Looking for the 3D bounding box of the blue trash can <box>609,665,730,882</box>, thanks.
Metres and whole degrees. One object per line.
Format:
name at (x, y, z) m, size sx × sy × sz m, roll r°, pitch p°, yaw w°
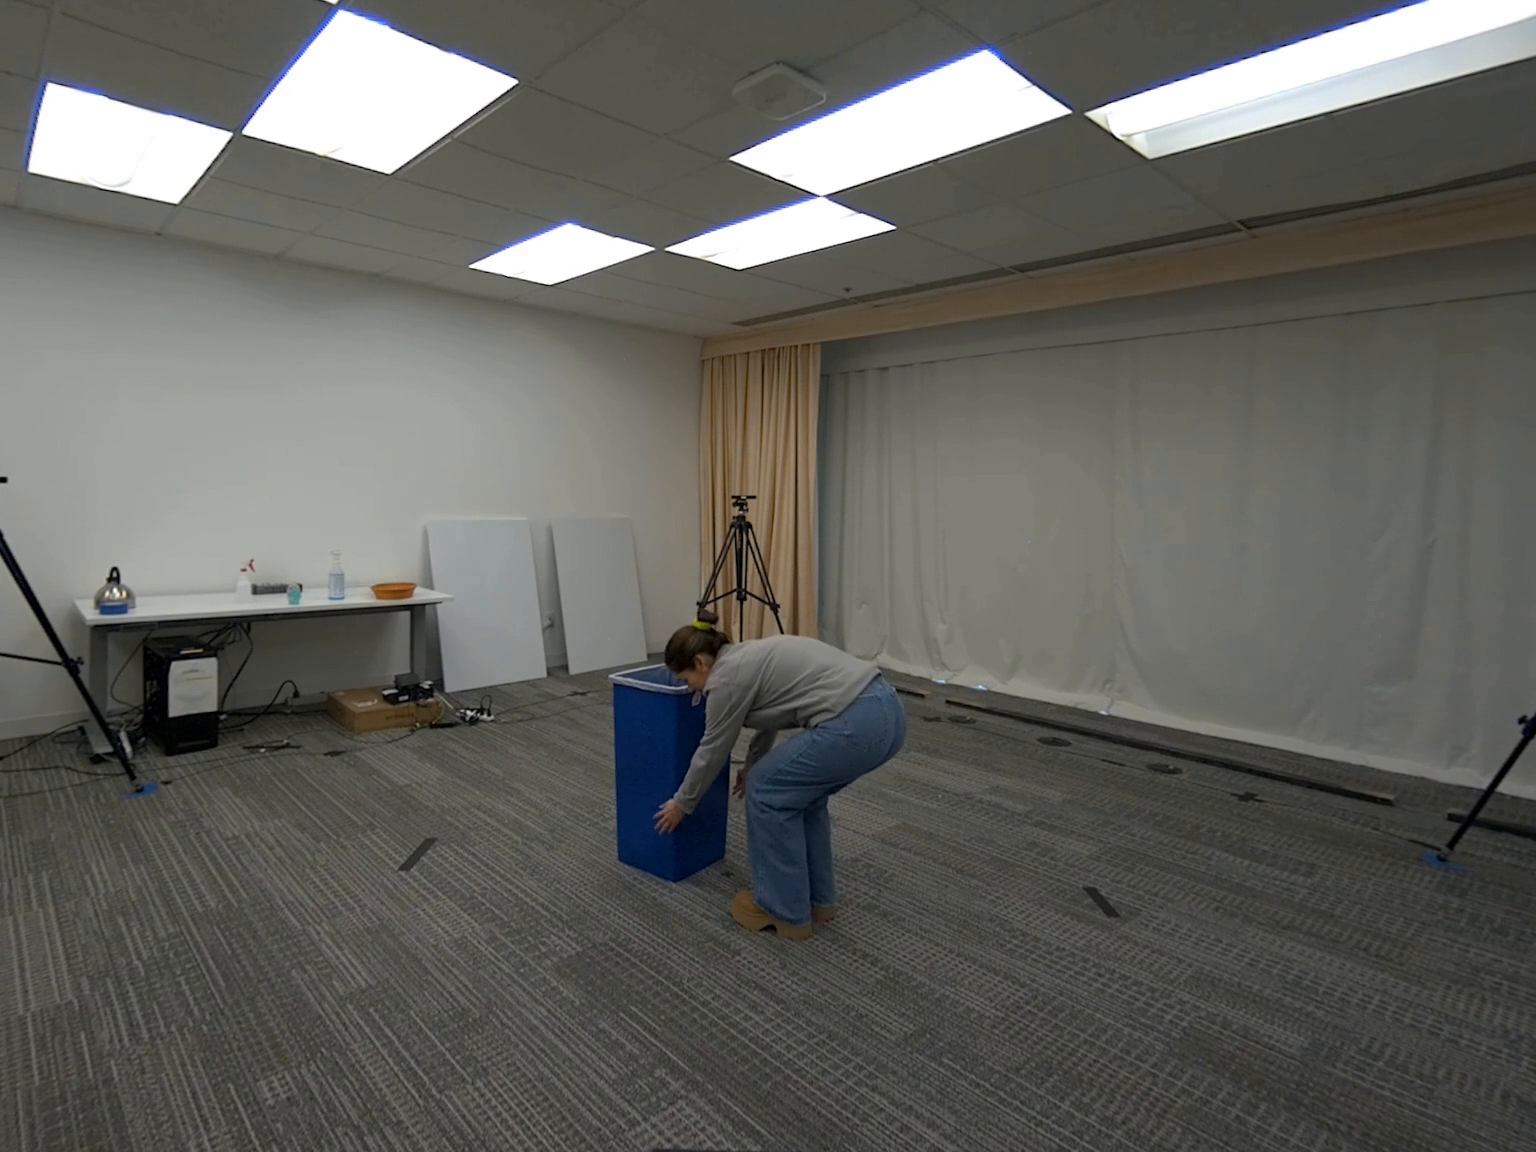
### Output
blue trash can at (-0.378, 0.729, 3.216) m, size 0.383 × 0.712 × 0.370 m, roll 4°, pitch 4°, yaw 36°
